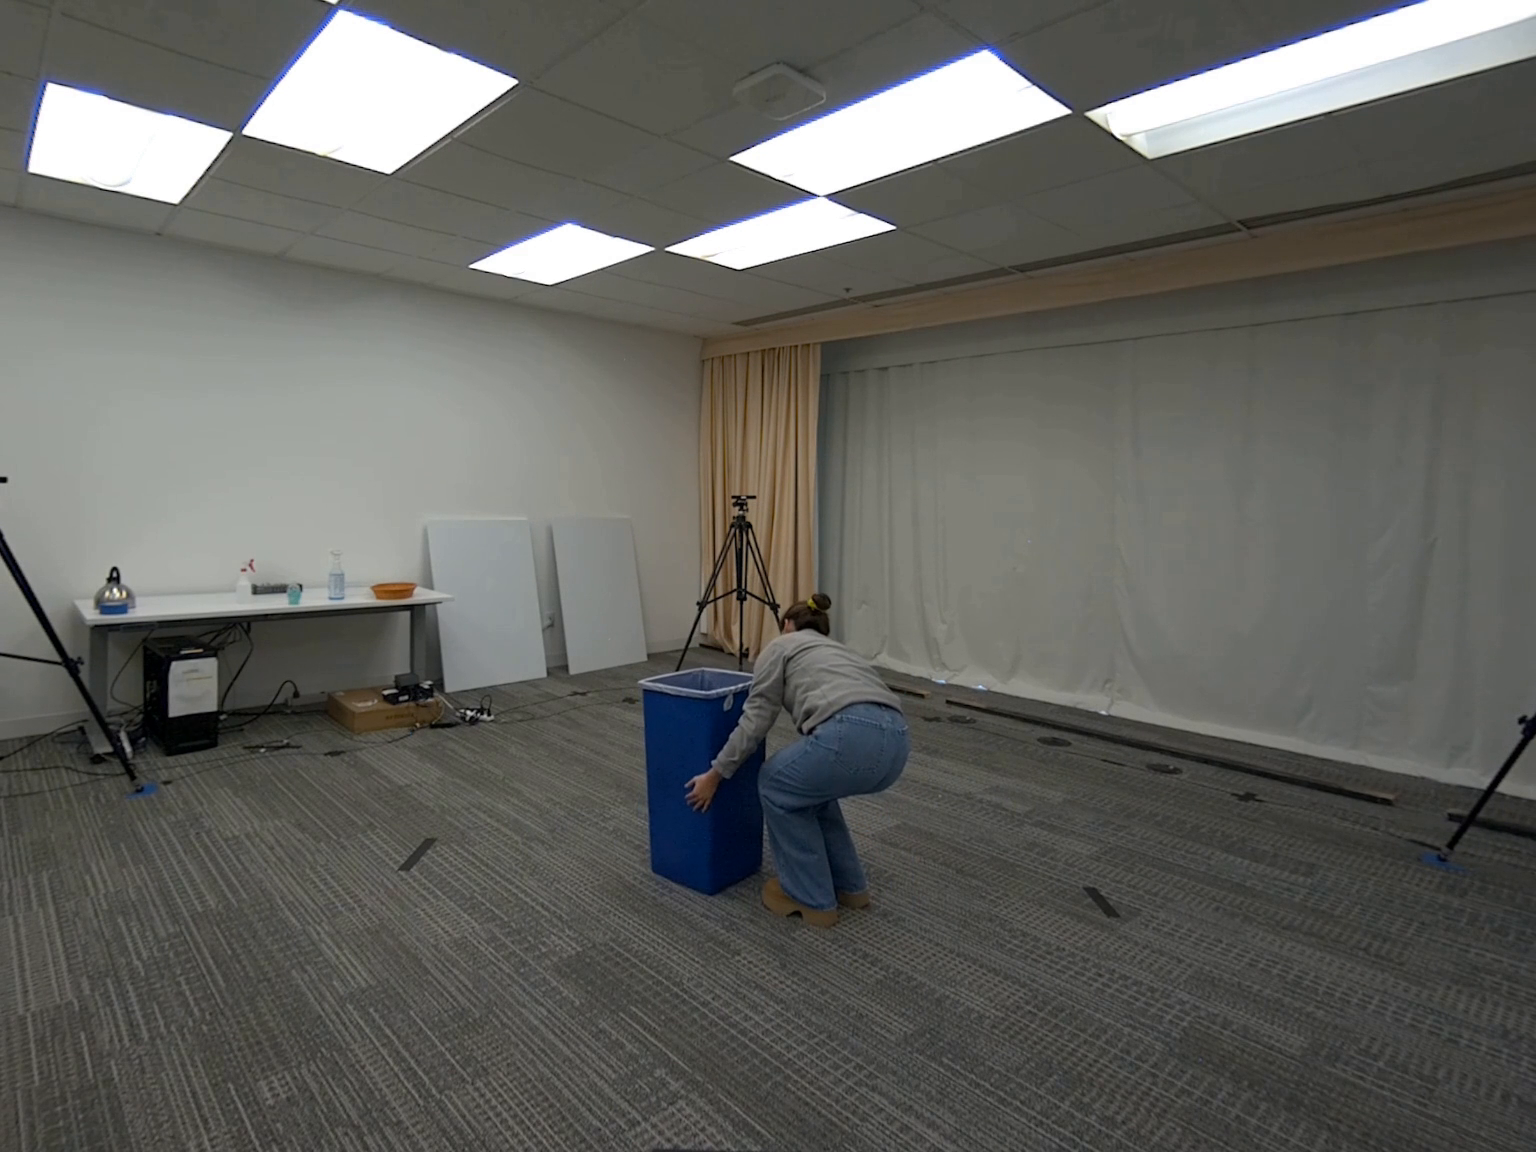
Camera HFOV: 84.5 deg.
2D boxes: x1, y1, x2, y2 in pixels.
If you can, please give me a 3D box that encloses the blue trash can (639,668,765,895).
[{"bbox_3d":[-0.244,0.735,3.124,0.383,0.712,0.369,2,3,38],"label":"blue trash can"}]
